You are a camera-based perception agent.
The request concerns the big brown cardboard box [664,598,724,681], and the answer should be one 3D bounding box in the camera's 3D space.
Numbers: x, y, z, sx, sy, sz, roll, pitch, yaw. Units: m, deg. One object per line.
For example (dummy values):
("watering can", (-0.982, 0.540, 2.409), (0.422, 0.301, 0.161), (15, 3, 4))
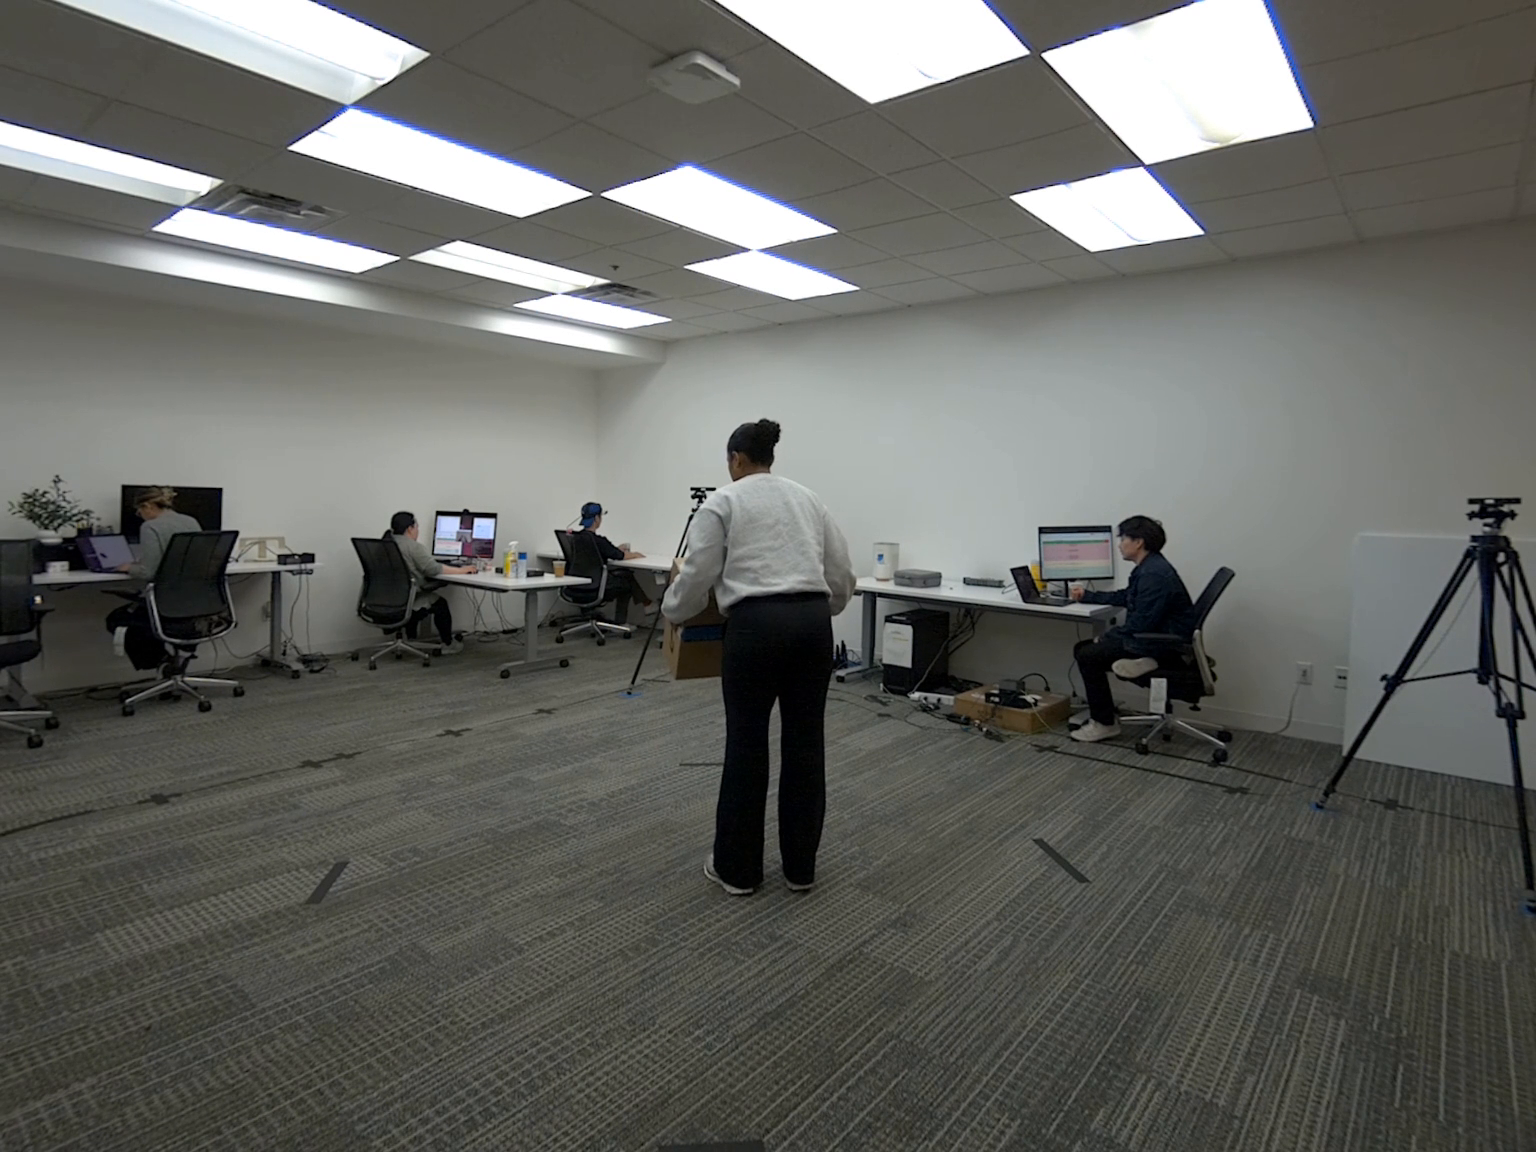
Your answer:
("big brown cardboard box", (-0.106, 0.142, 3.330), (0.578, 0.410, 0.242), (-2, 25, -19))
